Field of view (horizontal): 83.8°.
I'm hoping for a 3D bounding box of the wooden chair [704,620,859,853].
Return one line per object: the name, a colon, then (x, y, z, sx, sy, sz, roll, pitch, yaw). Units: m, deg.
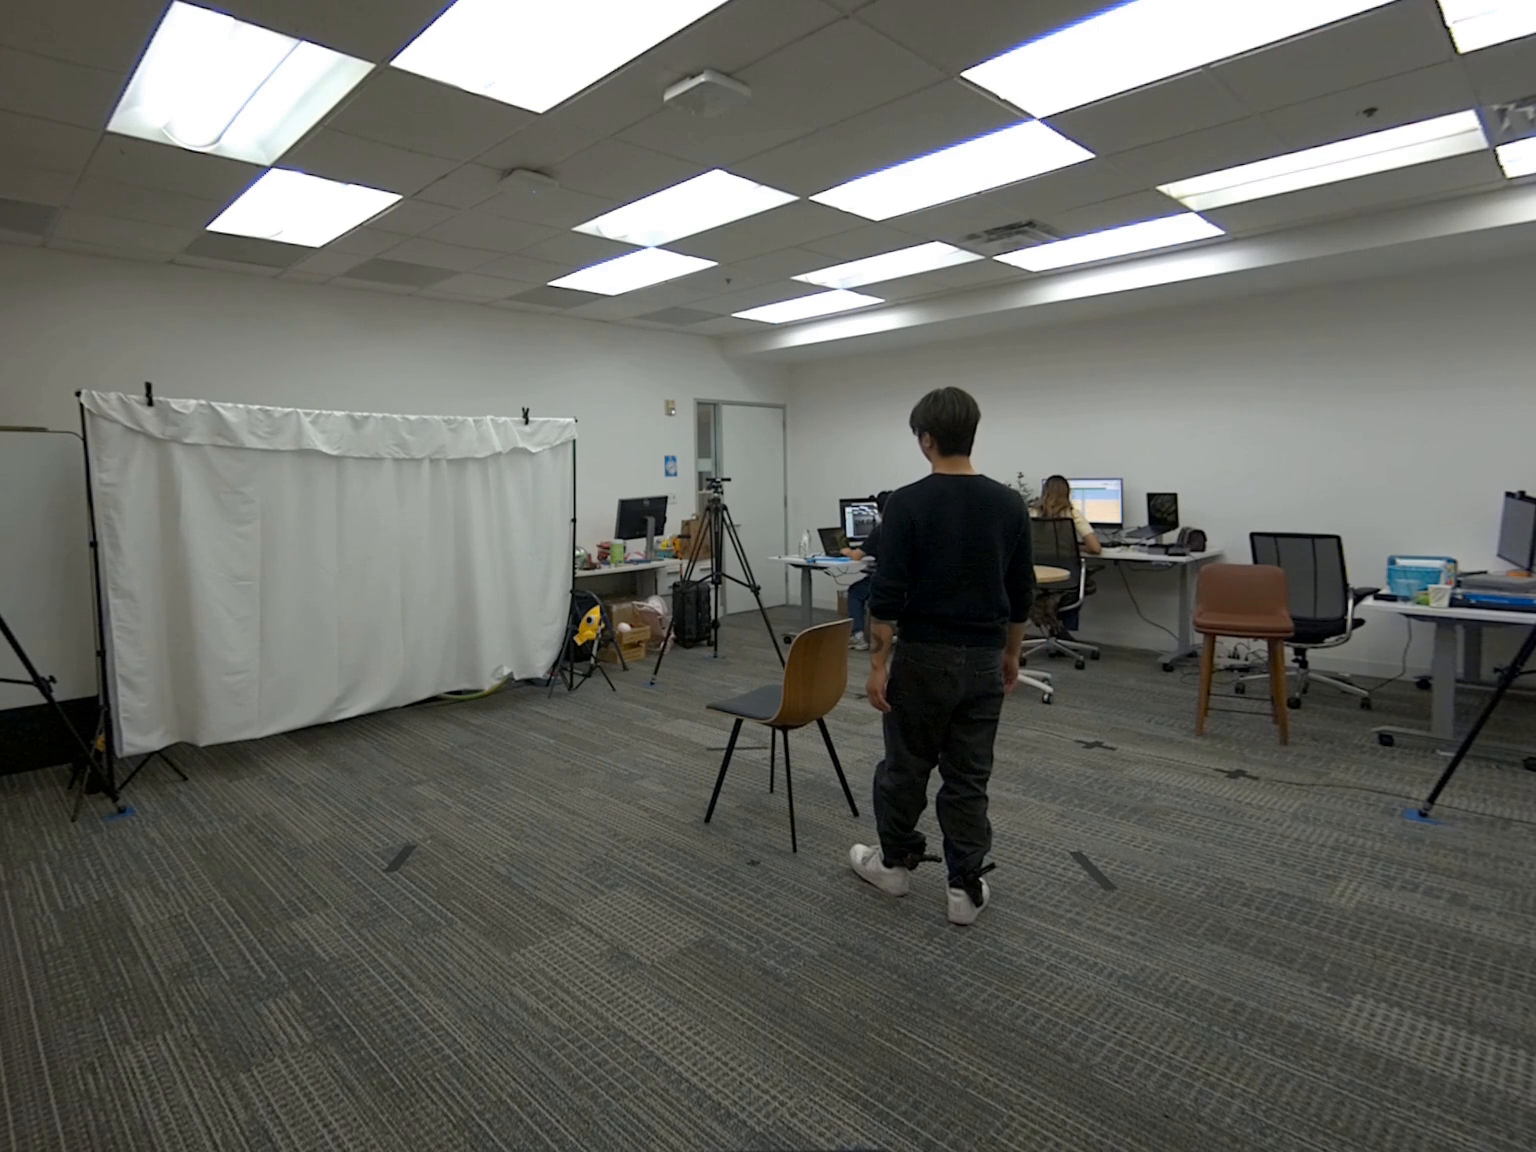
wooden chair: (0.046, 0.570, 3.463, 0.540, 0.872, 0.466, 8, 9, 38)
